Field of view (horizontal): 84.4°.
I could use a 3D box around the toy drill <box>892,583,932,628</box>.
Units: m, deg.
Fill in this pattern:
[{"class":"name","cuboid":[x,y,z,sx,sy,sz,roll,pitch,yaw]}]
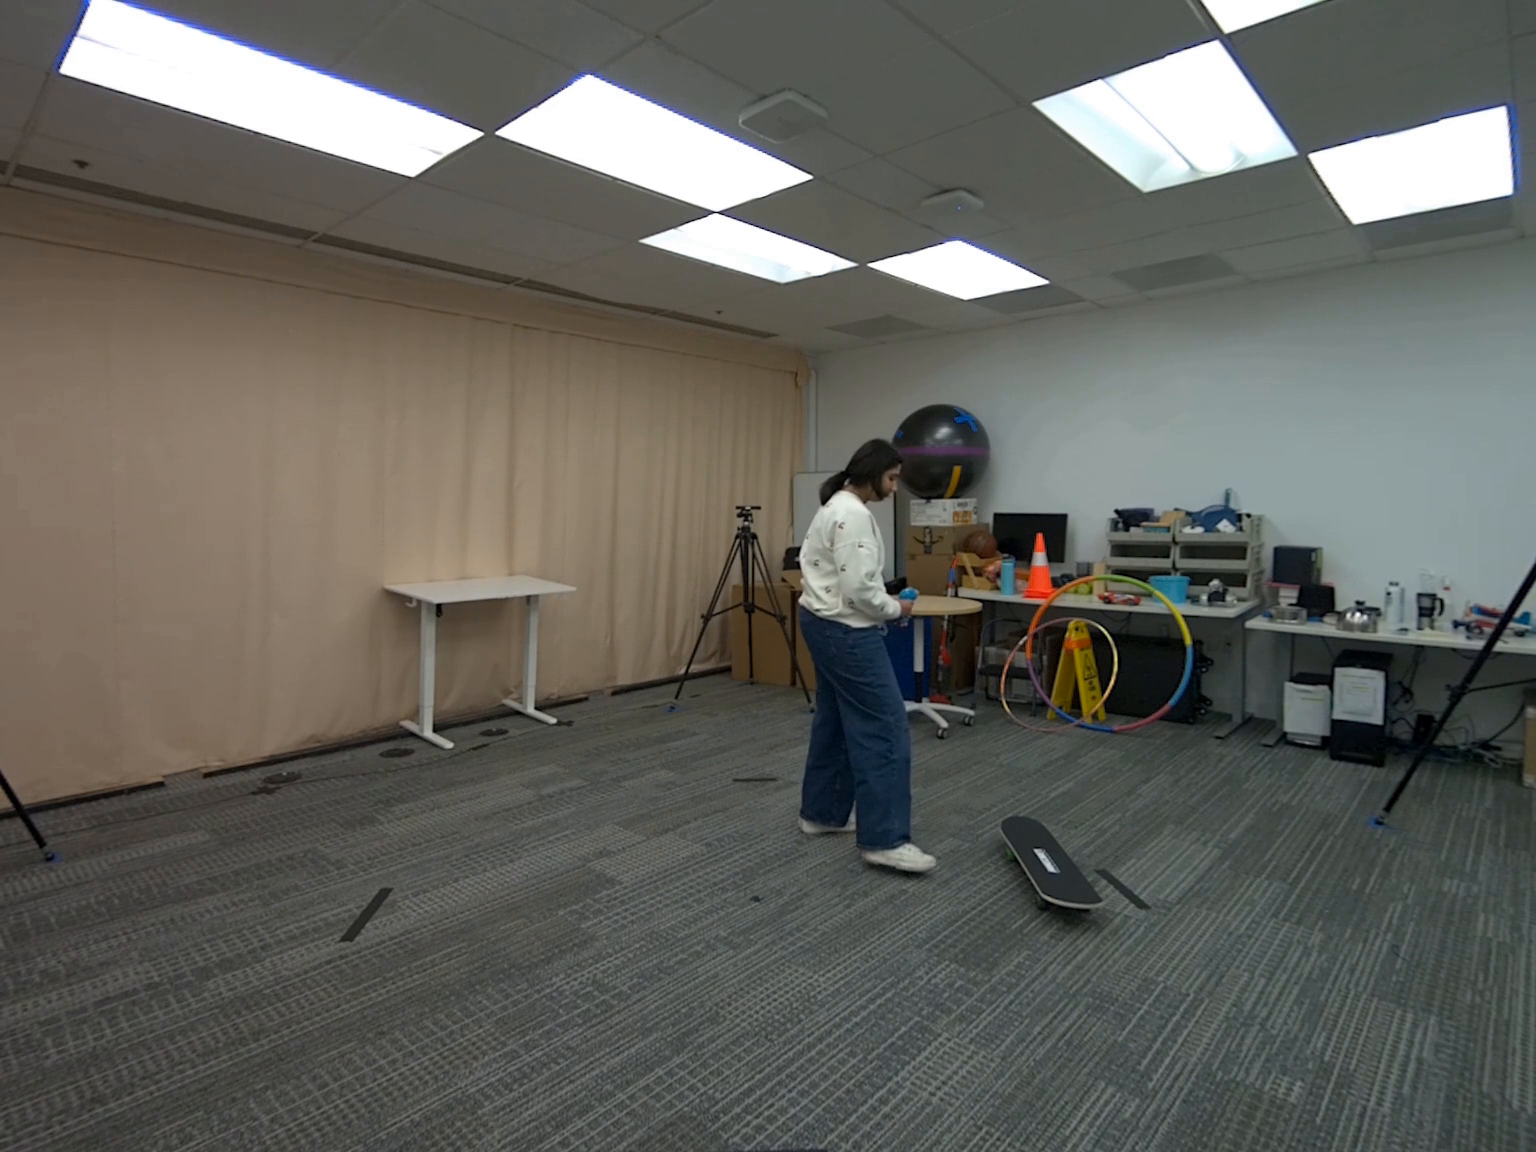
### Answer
[{"class":"toy drill","cuboid":[0.590,0.117,3.481,0.063,0.145,0.165,22,17,28]}]
